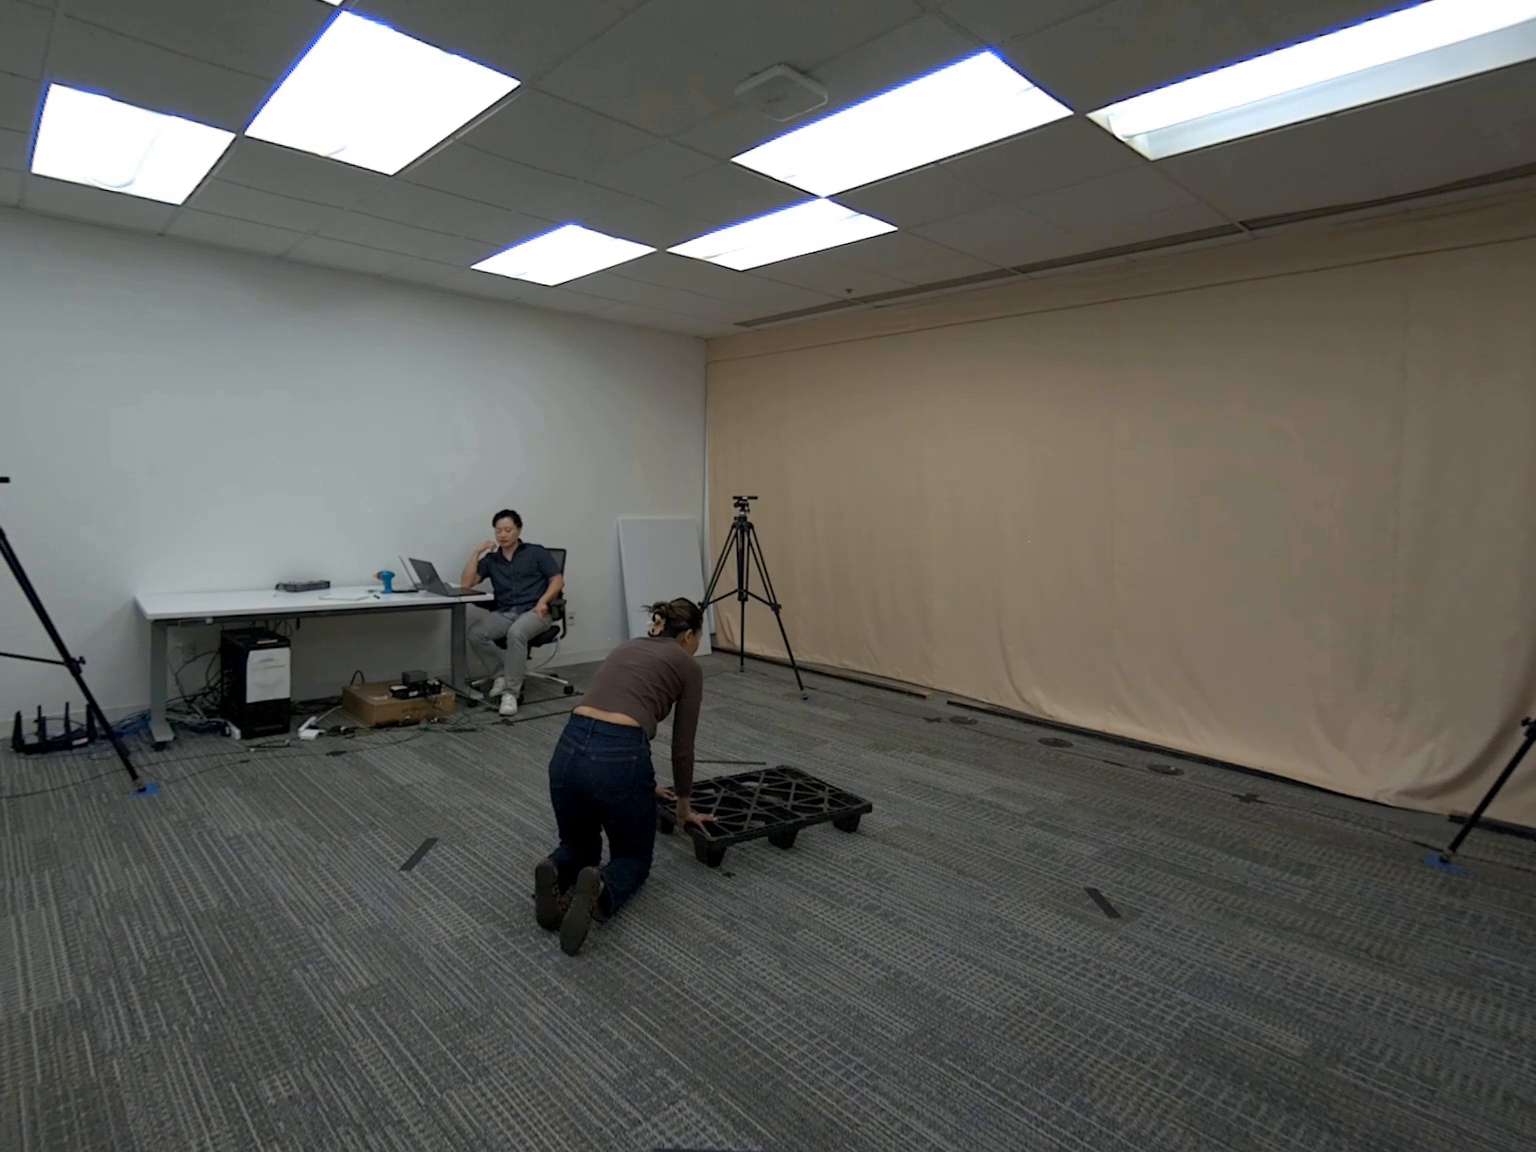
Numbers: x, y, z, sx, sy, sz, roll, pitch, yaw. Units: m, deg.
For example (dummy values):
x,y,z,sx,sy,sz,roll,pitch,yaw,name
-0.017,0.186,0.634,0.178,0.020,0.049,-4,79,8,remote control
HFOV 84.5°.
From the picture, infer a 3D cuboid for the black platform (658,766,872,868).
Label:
x,y,z,sx,sy,sz,roll,pitch,yaw,name
-0.068,0.999,3.547,0.788,0.143,0.620,-2,5,-34,black platform
